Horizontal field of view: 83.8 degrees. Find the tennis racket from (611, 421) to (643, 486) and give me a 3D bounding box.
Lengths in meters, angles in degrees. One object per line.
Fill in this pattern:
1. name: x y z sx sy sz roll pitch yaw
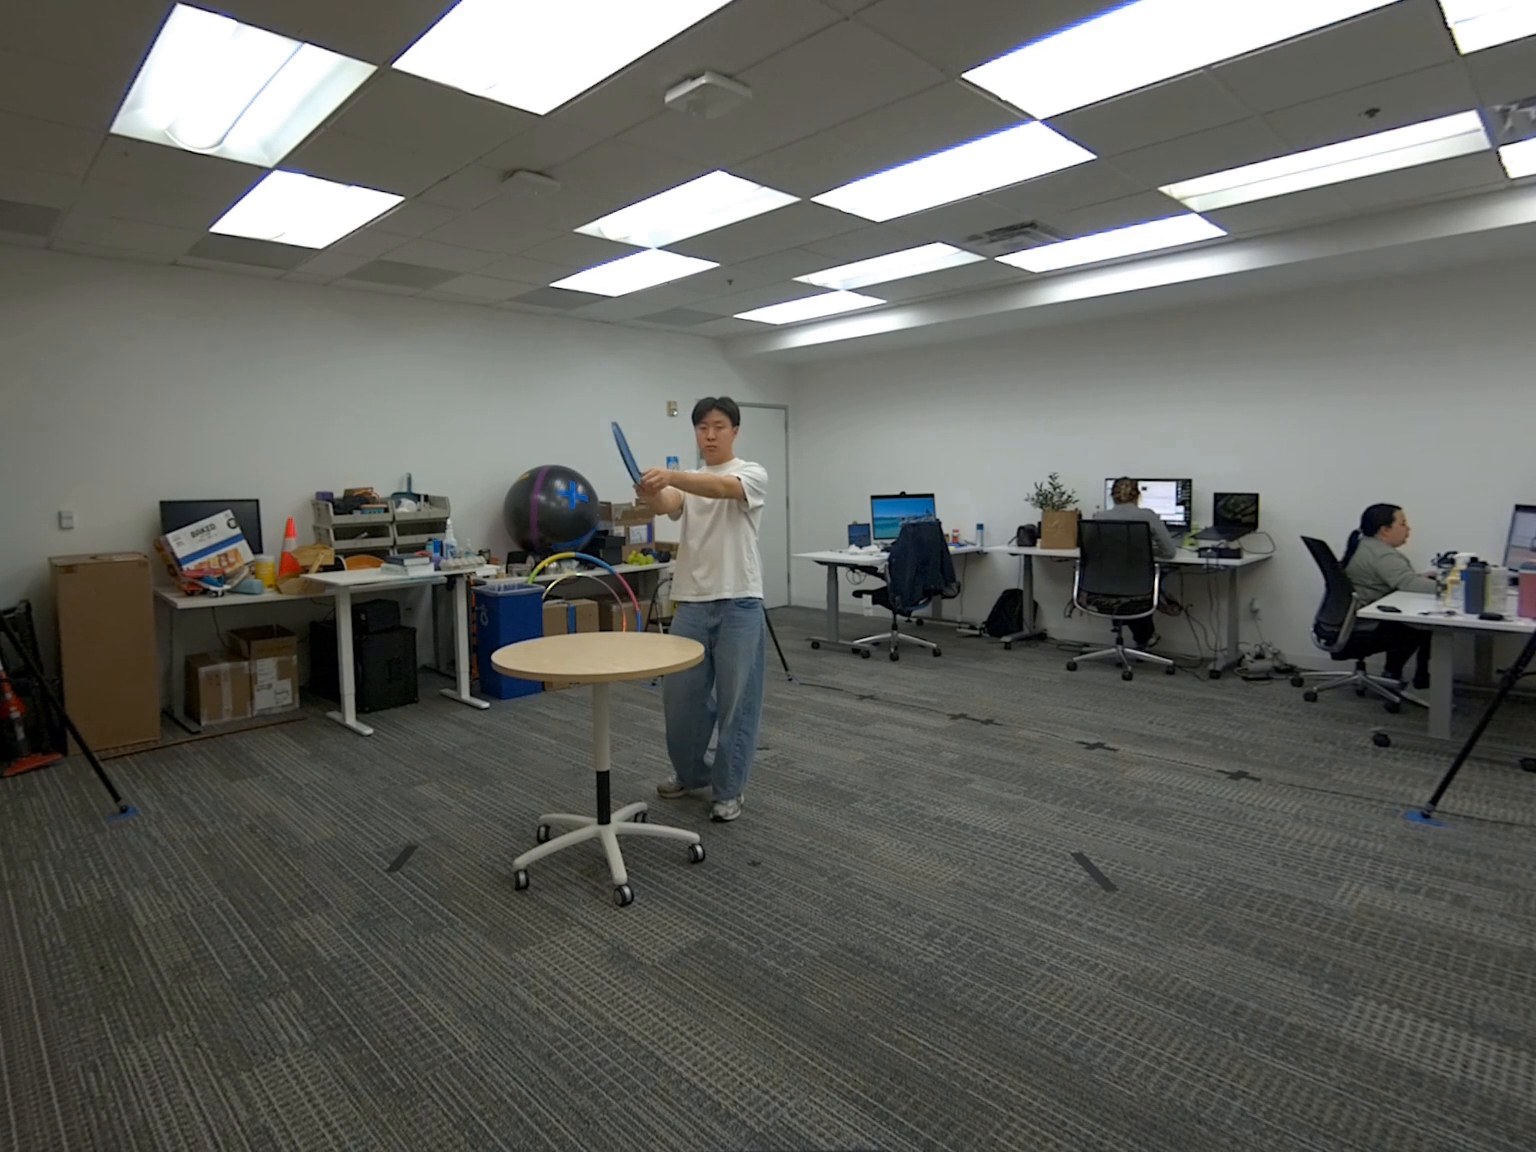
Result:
1. tennis racket: -0.473 -0.380 2.946 0.032 0.219 0.422 -15 -24 -2
